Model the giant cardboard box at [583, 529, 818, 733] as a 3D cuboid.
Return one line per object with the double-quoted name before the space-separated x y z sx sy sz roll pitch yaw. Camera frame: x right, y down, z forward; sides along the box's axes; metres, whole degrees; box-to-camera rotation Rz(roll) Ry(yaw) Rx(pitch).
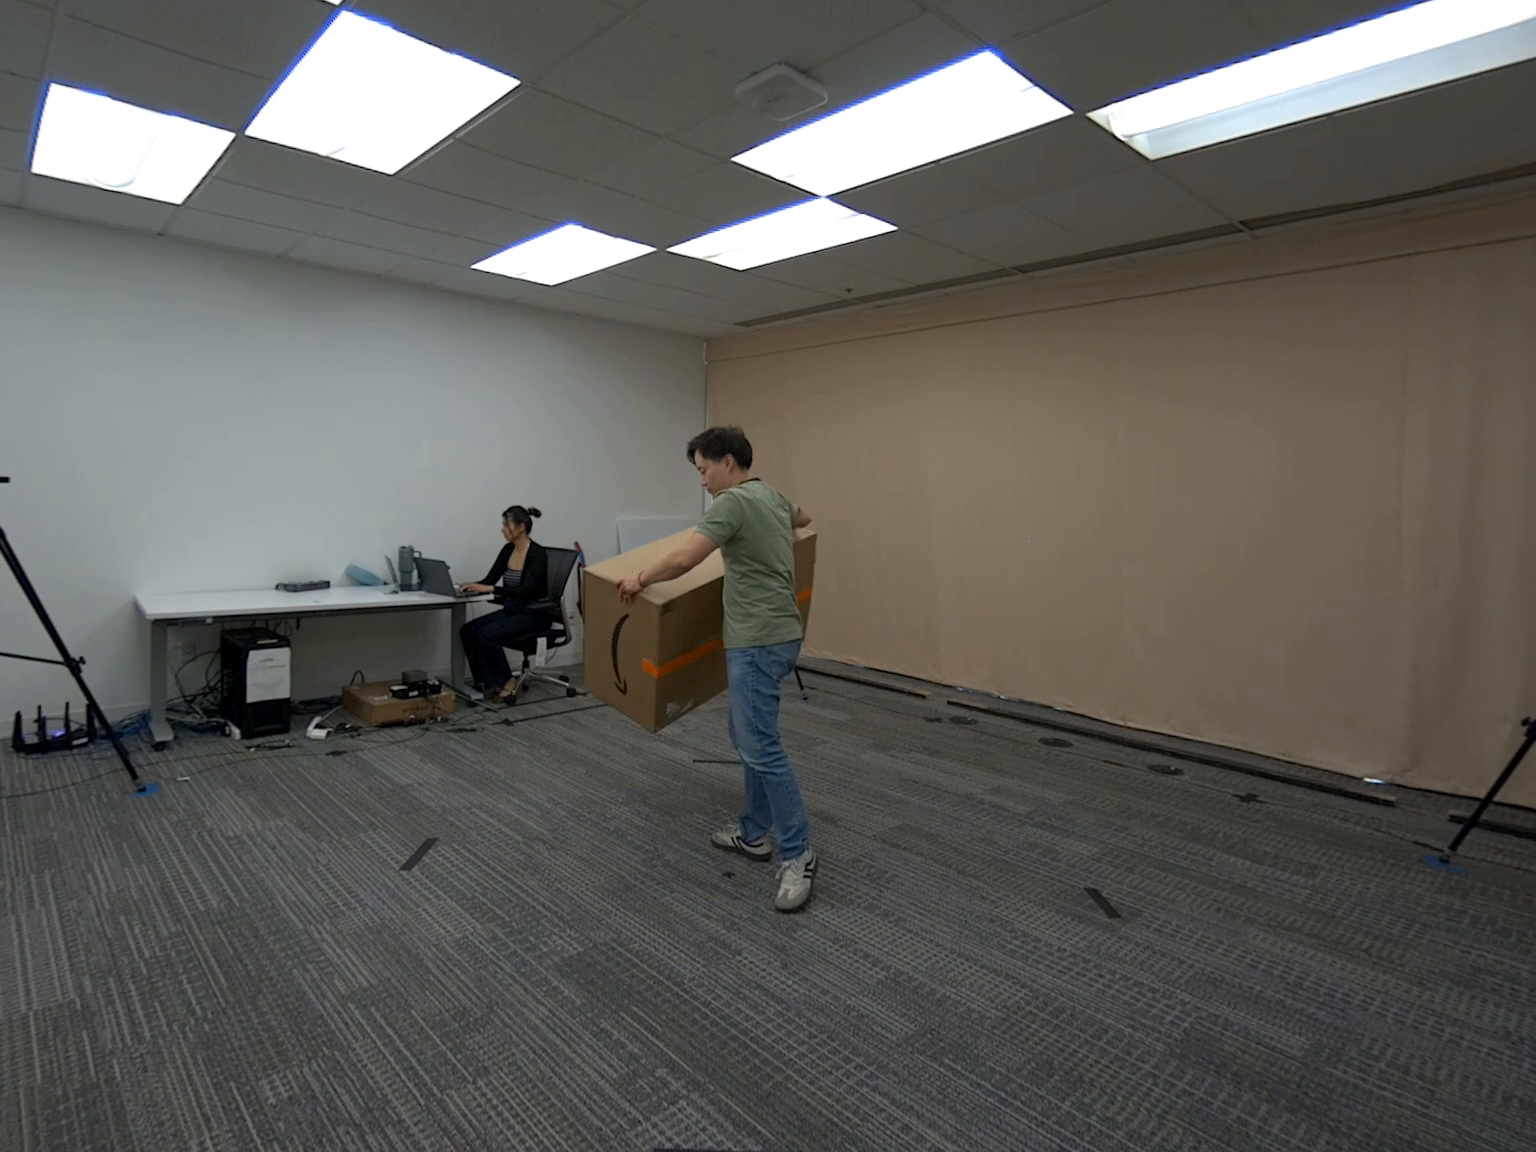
"giant cardboard box" -0.274 0.143 3.654 0.438 0.569 1.013 23 31 33
